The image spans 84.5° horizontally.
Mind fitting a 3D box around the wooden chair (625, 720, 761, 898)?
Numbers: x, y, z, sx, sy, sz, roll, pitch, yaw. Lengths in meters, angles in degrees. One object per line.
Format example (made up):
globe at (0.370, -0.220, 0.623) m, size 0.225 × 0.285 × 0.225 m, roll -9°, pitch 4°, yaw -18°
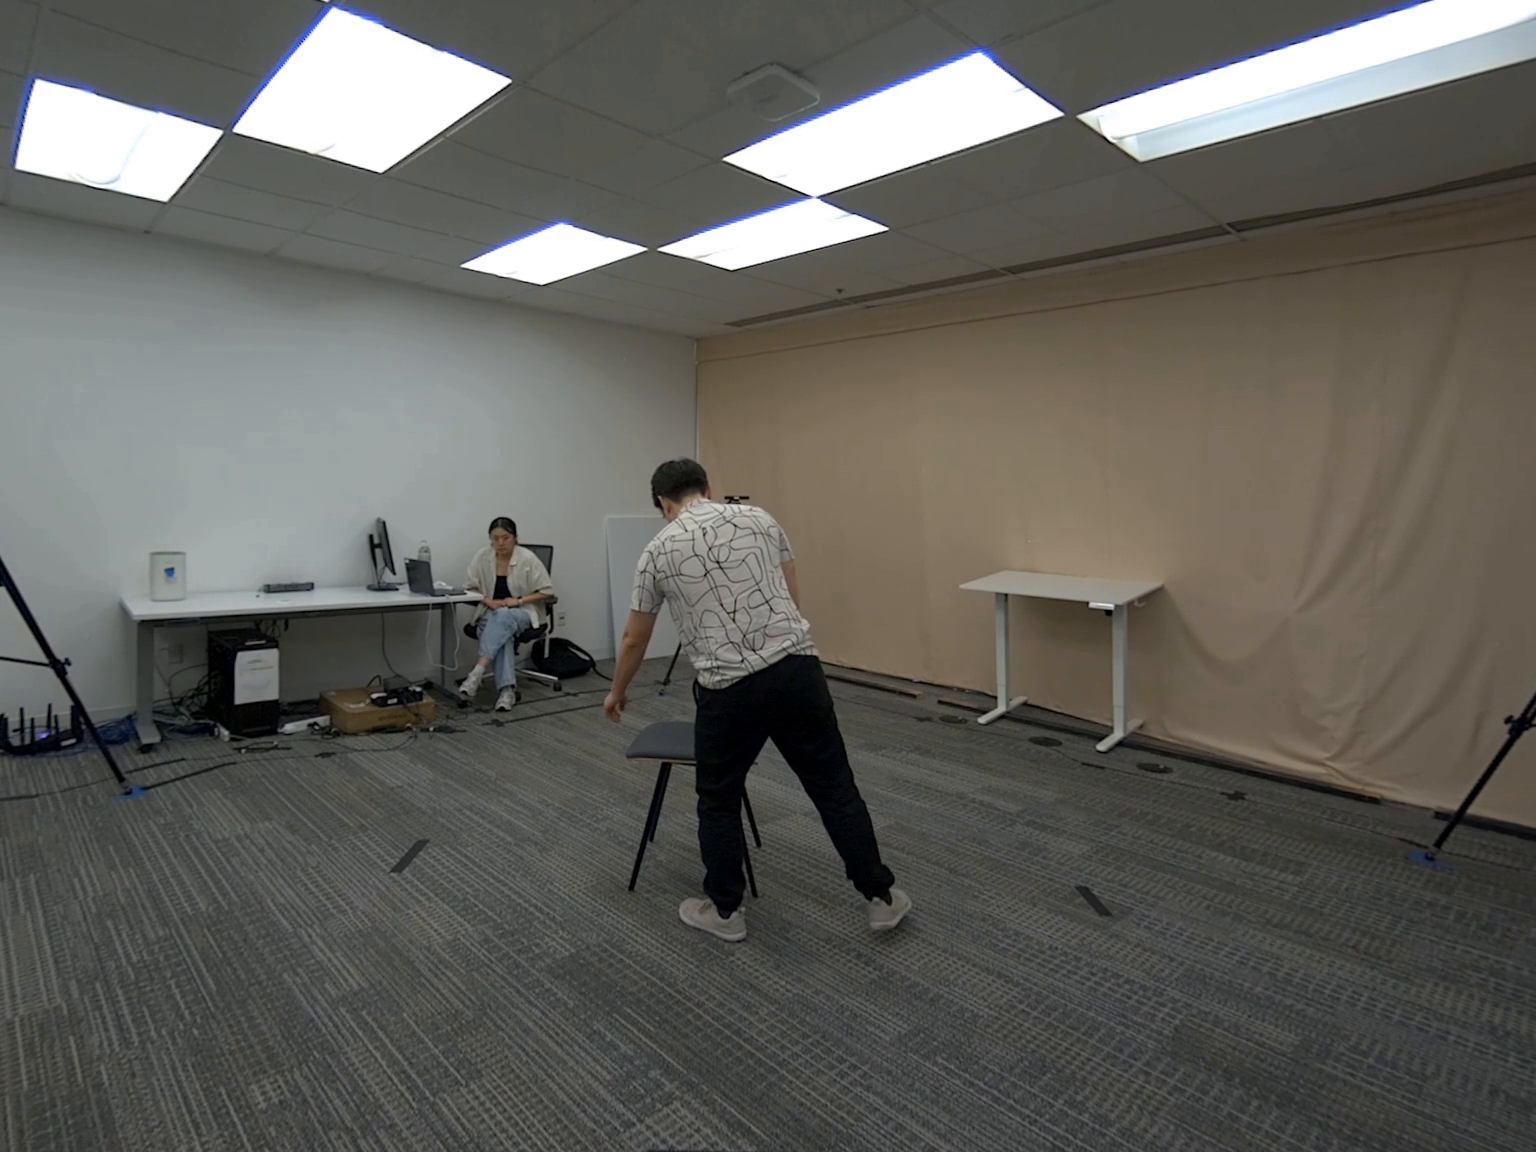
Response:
wooden chair at (-0.259, 0.673, 3.131) m, size 0.524 × 0.875 × 0.479 m, roll 6°, pitch 4°, yaw 1°
